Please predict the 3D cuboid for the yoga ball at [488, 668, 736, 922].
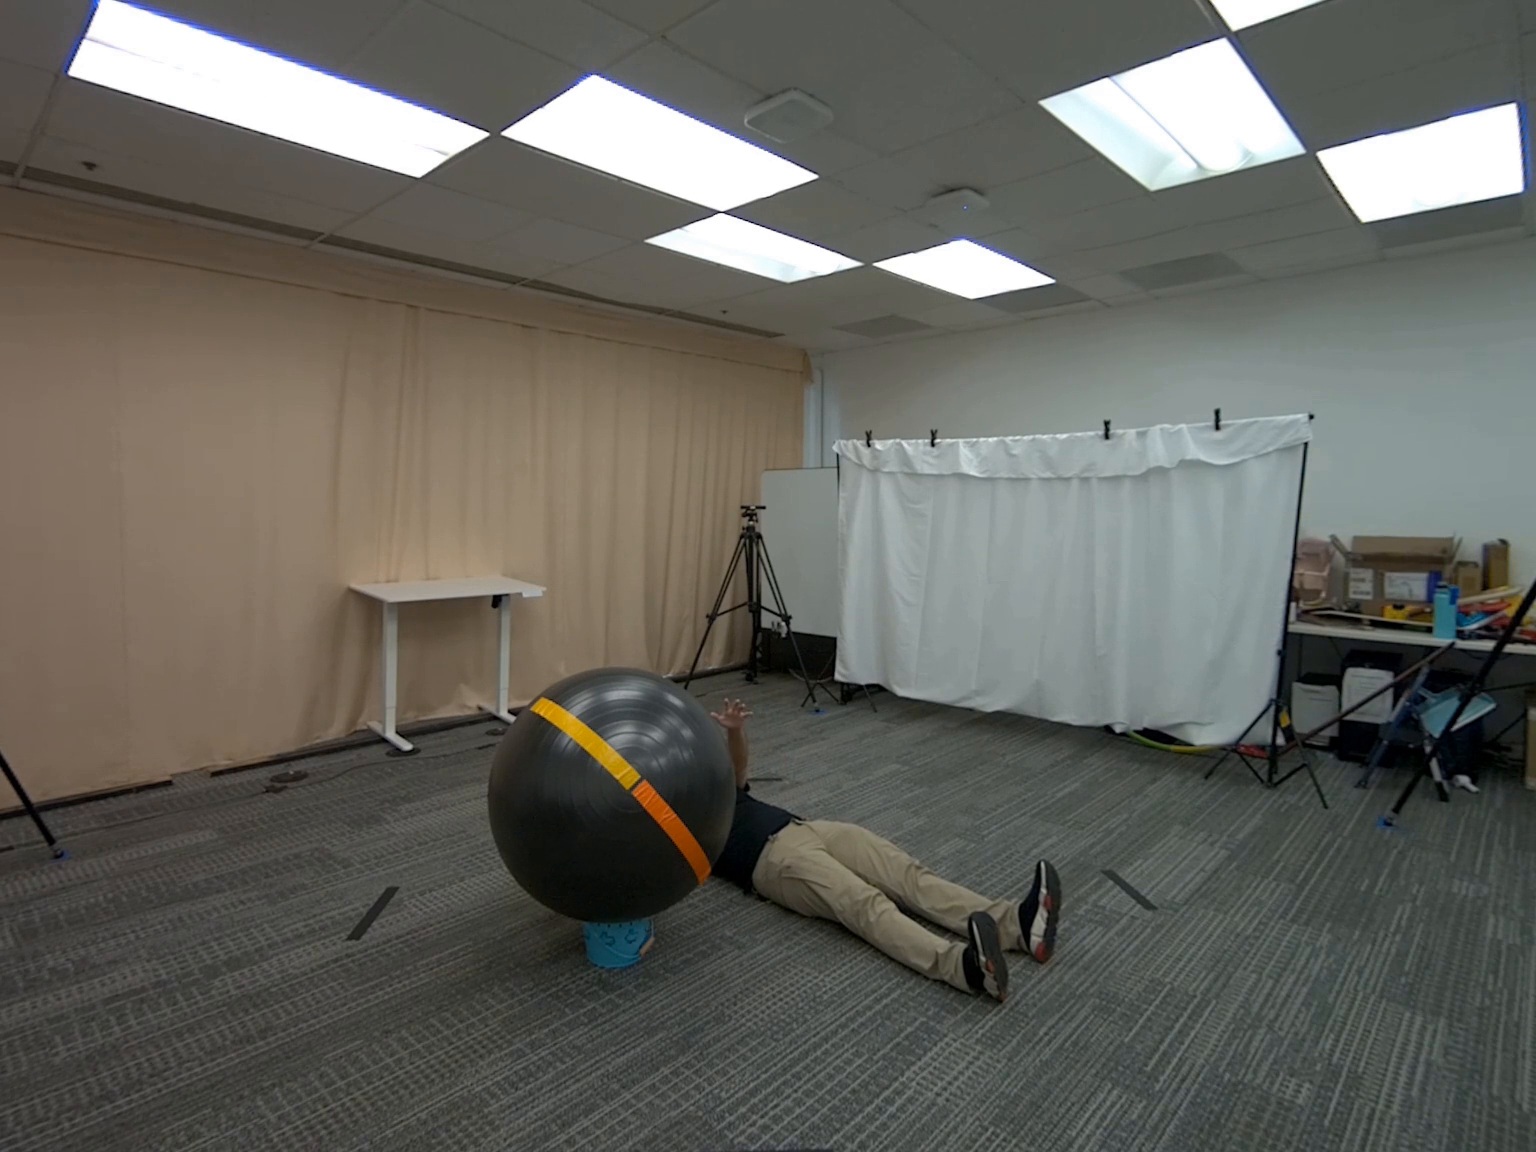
[{"bbox_3d":[-0.478,0.667,2.611,0.757,0.756,0.761,0,4,-2],"label":"yoga ball"}]
